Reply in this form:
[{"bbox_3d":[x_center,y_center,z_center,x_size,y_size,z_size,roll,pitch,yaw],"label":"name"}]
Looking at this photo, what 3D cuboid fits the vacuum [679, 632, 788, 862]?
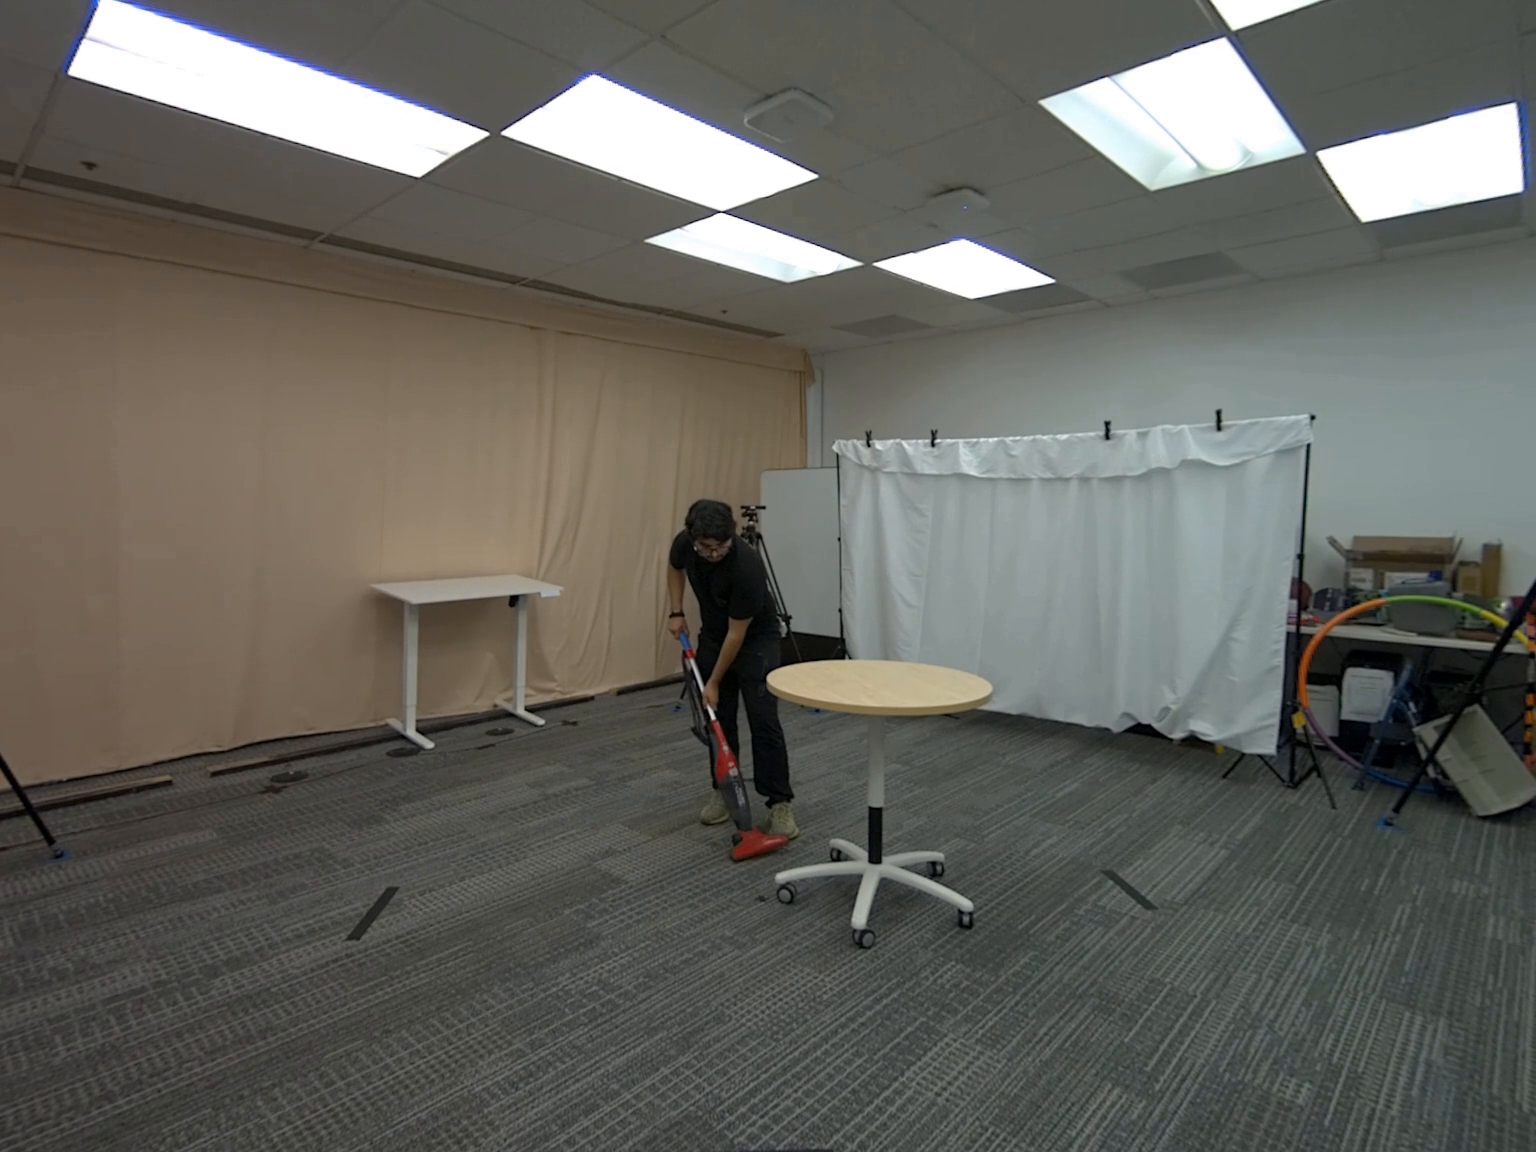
[{"bbox_3d":[-0.242,0.652,3.612,0.247,1.075,0.143,-10,-29,-25],"label":"vacuum"}]
